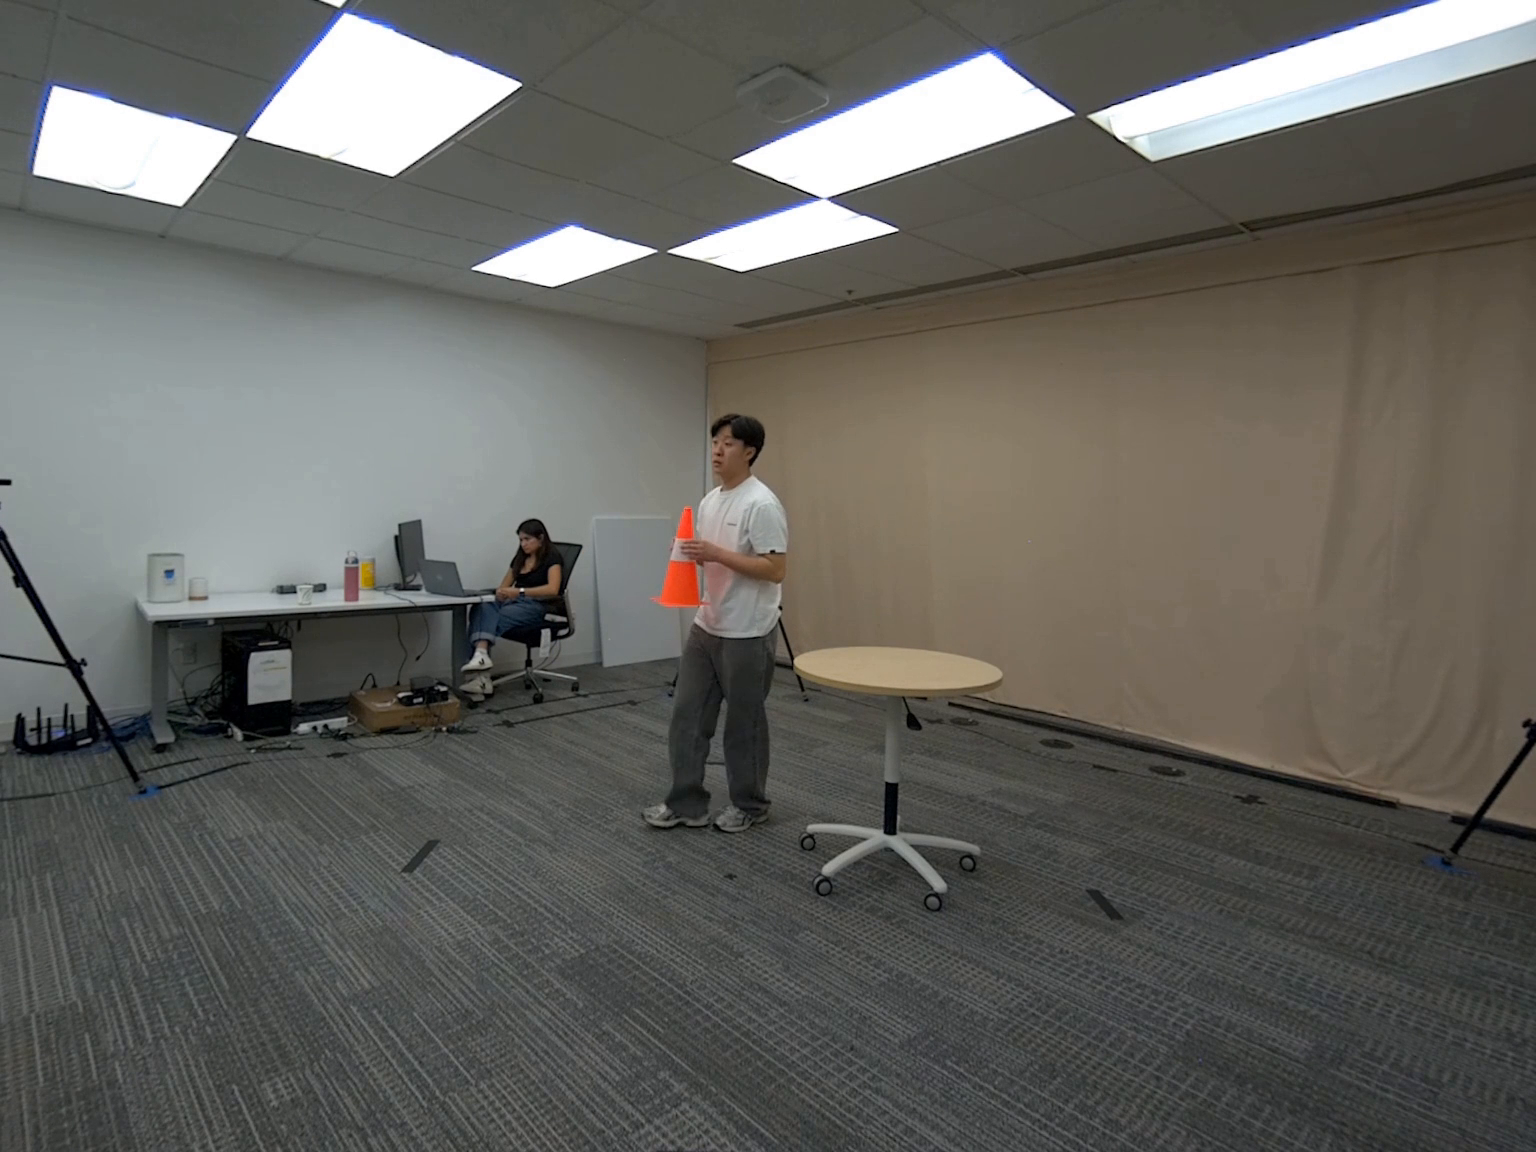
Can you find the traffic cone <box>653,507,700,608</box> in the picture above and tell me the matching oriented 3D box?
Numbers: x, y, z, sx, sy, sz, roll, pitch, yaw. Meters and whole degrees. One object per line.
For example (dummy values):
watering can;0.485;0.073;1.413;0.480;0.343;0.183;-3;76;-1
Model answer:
traffic cone;-0.347;-0.079;3.366;0.211;0.382;0.199;12;10;42
